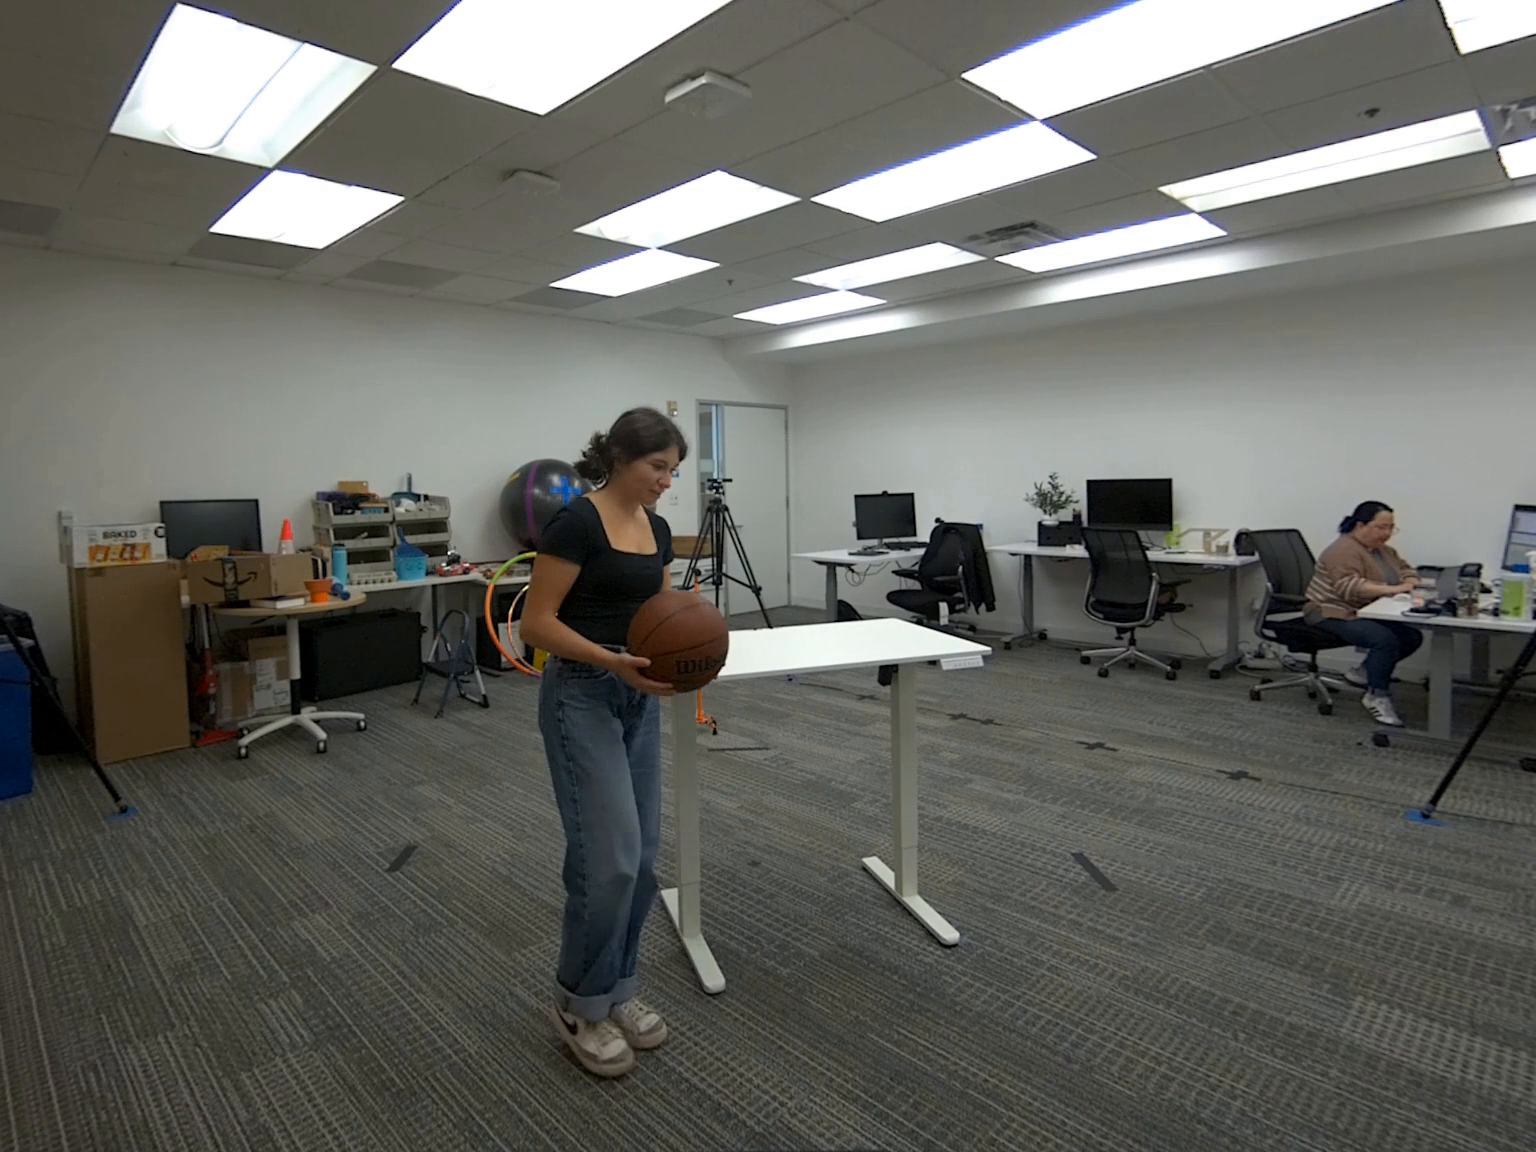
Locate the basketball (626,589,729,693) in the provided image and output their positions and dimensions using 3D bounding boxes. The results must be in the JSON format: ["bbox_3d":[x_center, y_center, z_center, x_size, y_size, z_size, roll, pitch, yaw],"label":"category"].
[{"bbox_3d":[-0.213,0.149,2.000,0.236,0.235,0.237,-1,5,-2],"label":"basketball"}]
